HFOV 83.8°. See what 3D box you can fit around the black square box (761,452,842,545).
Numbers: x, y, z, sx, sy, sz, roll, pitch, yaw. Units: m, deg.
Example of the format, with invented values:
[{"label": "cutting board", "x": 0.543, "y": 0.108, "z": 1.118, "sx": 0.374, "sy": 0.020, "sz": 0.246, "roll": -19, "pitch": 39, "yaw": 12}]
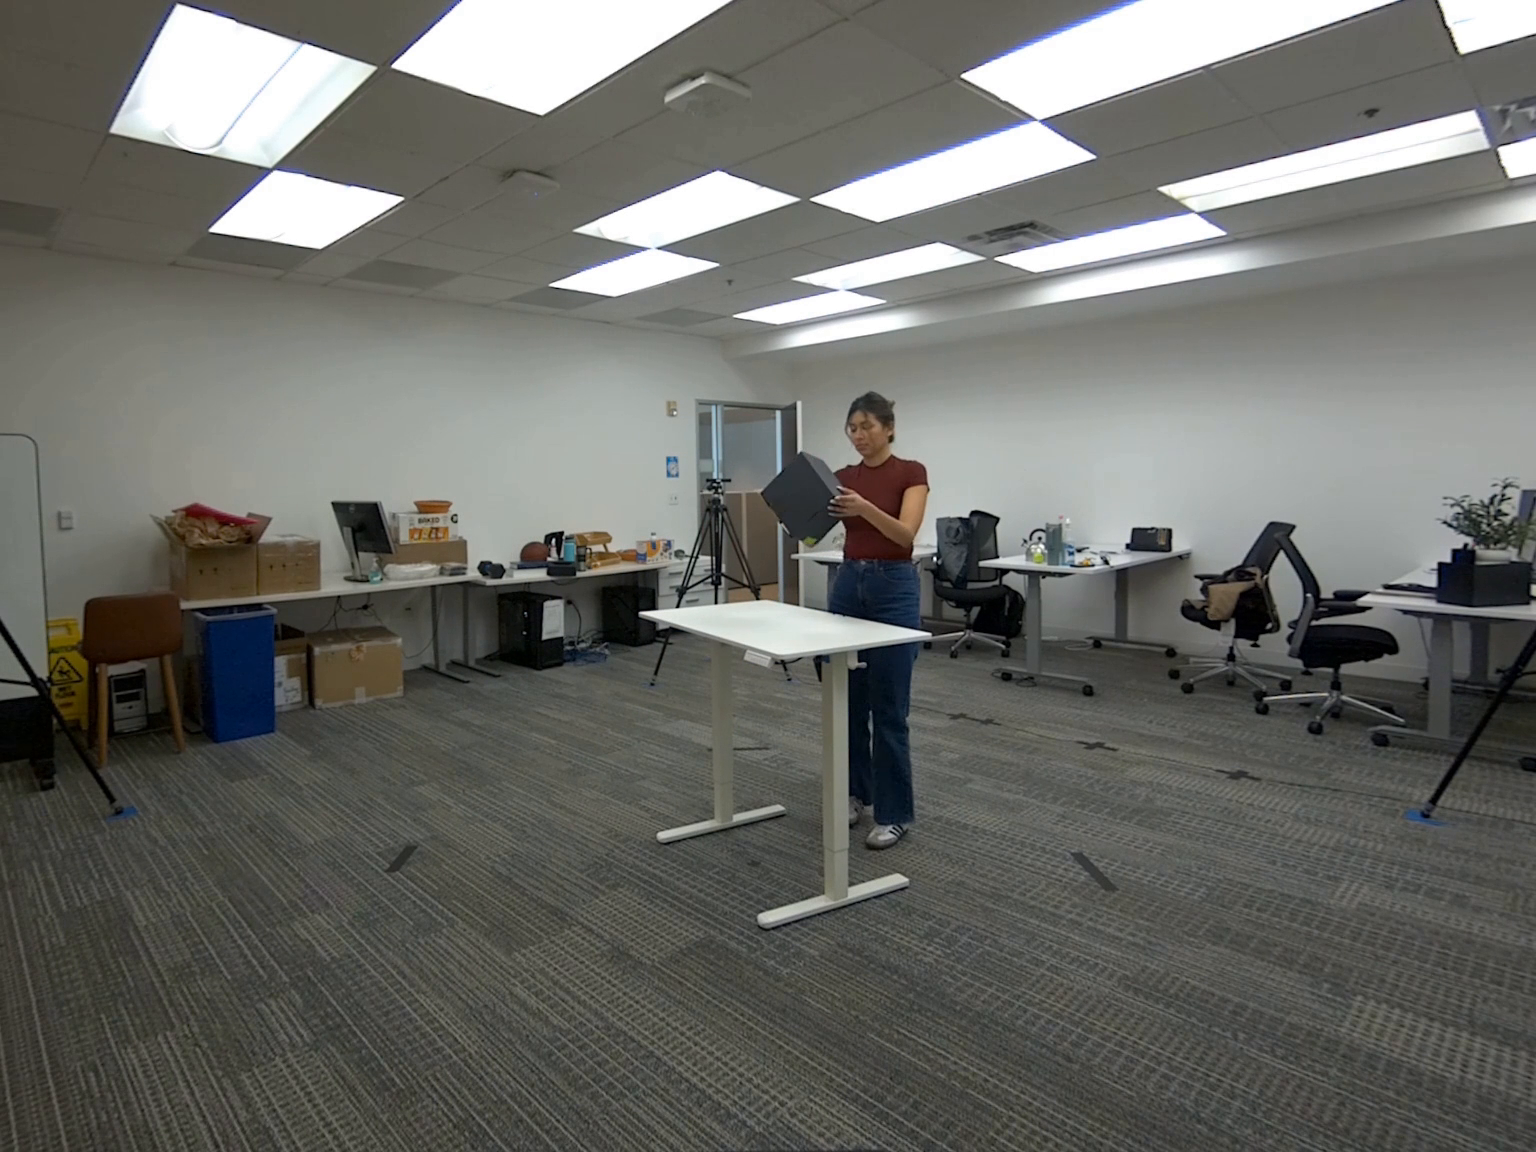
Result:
[{"label": "black square box", "x": 0.135, "y": -0.270, "z": 3.022, "sx": 0.217, "sy": 0.235, "sz": 0.151, "roll": -44, "pitch": -30, "yaw": 22}]
